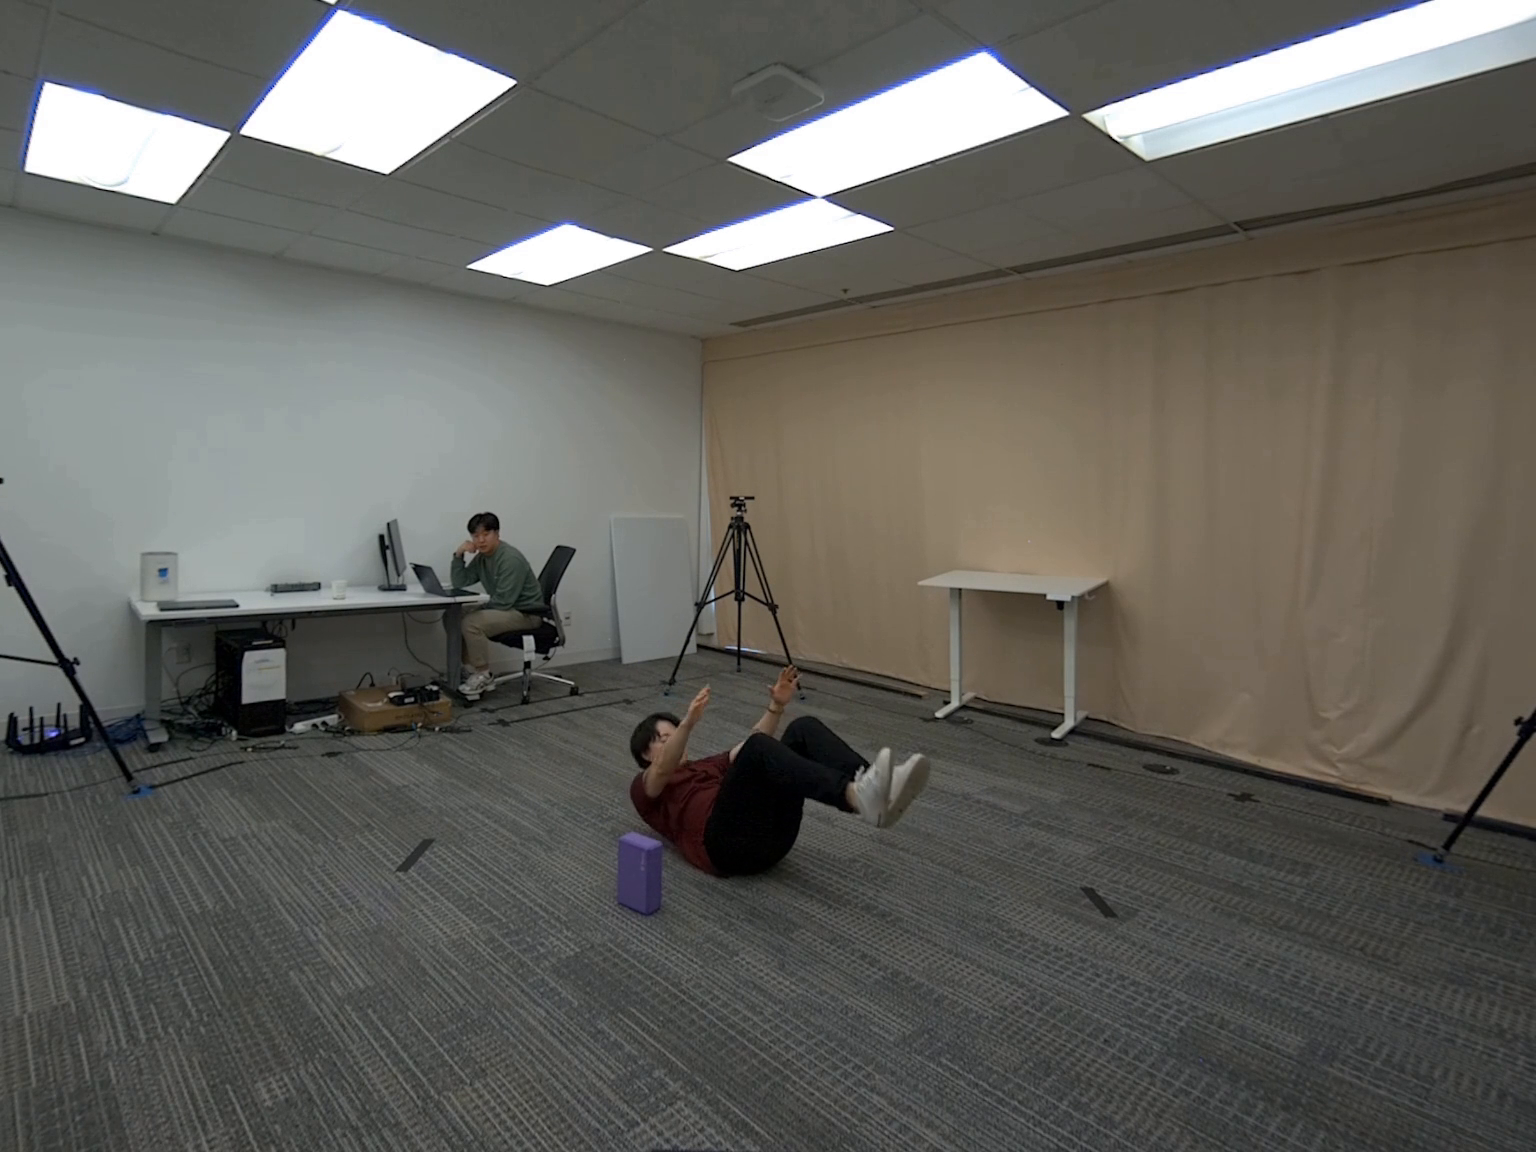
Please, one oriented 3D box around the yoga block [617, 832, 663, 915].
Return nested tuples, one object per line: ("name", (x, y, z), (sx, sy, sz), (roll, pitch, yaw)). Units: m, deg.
("yoga block", (-0.440, 1.000, 2.848), (0.152, 0.229, 0.075), (3, 4, 36))
